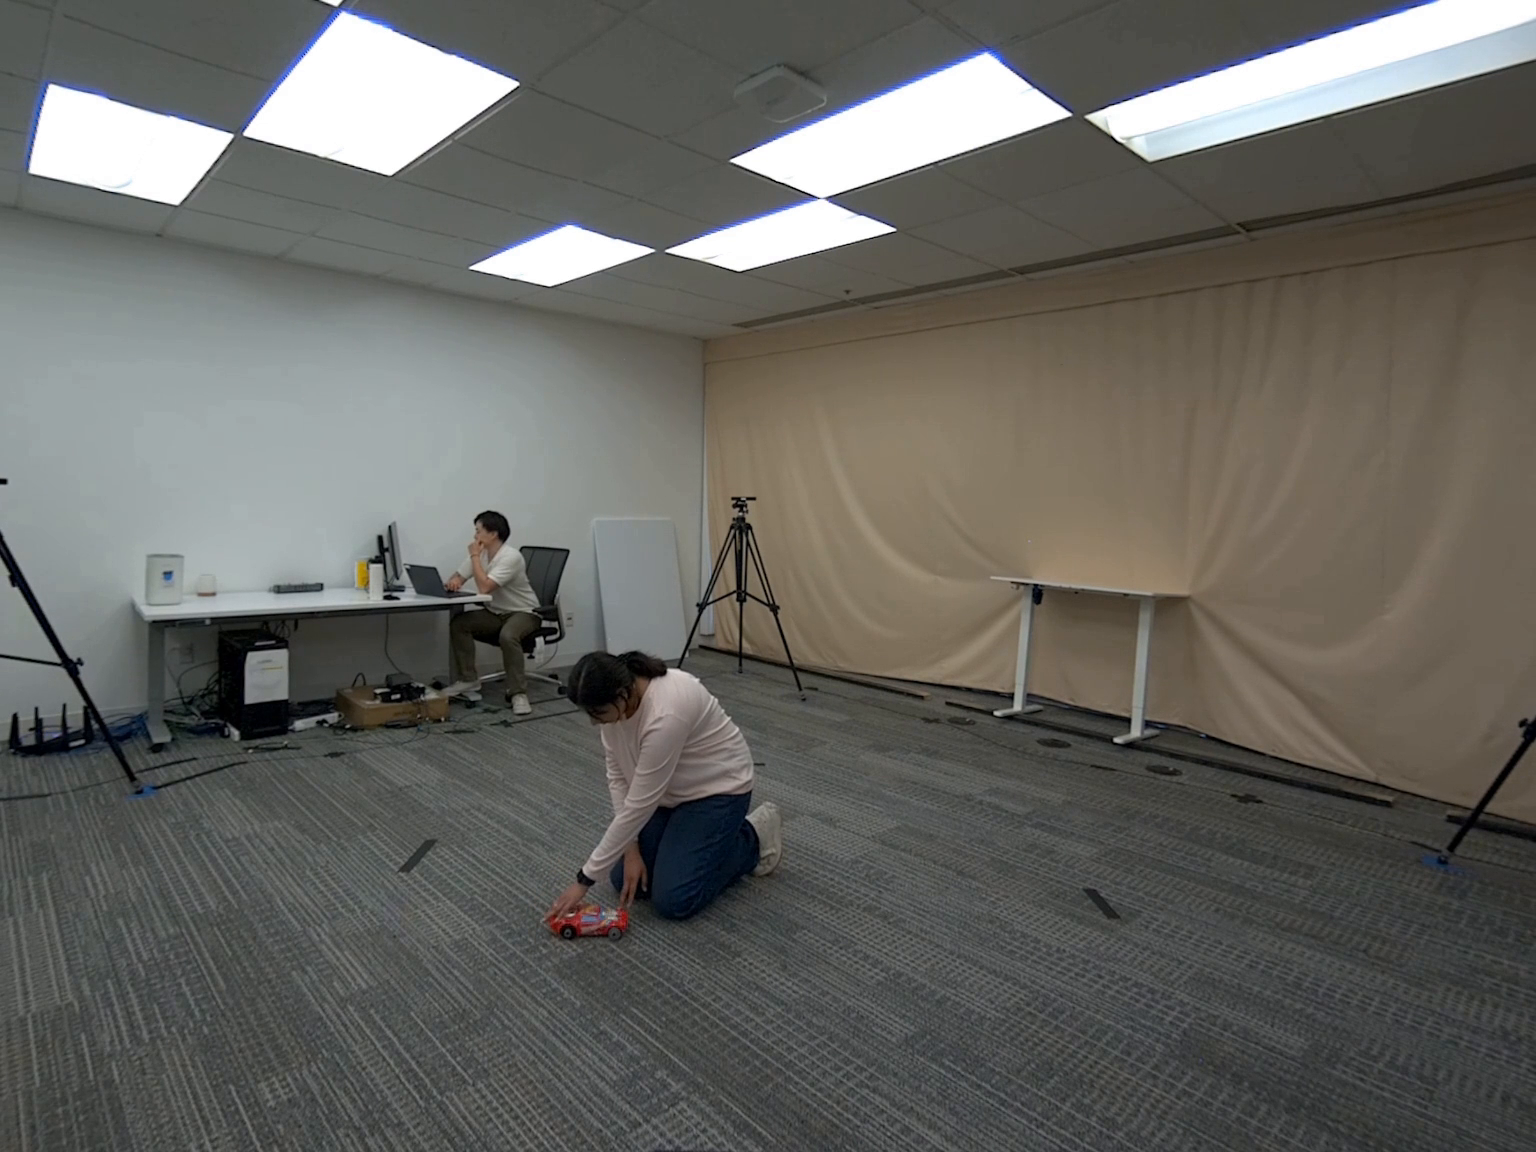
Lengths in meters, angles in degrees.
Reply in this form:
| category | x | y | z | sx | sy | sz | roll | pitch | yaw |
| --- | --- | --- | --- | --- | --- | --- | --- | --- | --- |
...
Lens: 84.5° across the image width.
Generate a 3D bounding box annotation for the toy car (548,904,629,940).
| category | x | y | z | sx | sy | sz | roll | pitch | yaw |
| --- | --- | --- | --- | --- | --- | --- | --- | --- | --- |
| toy car | -0.590 | 1.108 | 2.681 | 0.254 | 0.083 | 0.131 | 11 | 6 | 0 |
